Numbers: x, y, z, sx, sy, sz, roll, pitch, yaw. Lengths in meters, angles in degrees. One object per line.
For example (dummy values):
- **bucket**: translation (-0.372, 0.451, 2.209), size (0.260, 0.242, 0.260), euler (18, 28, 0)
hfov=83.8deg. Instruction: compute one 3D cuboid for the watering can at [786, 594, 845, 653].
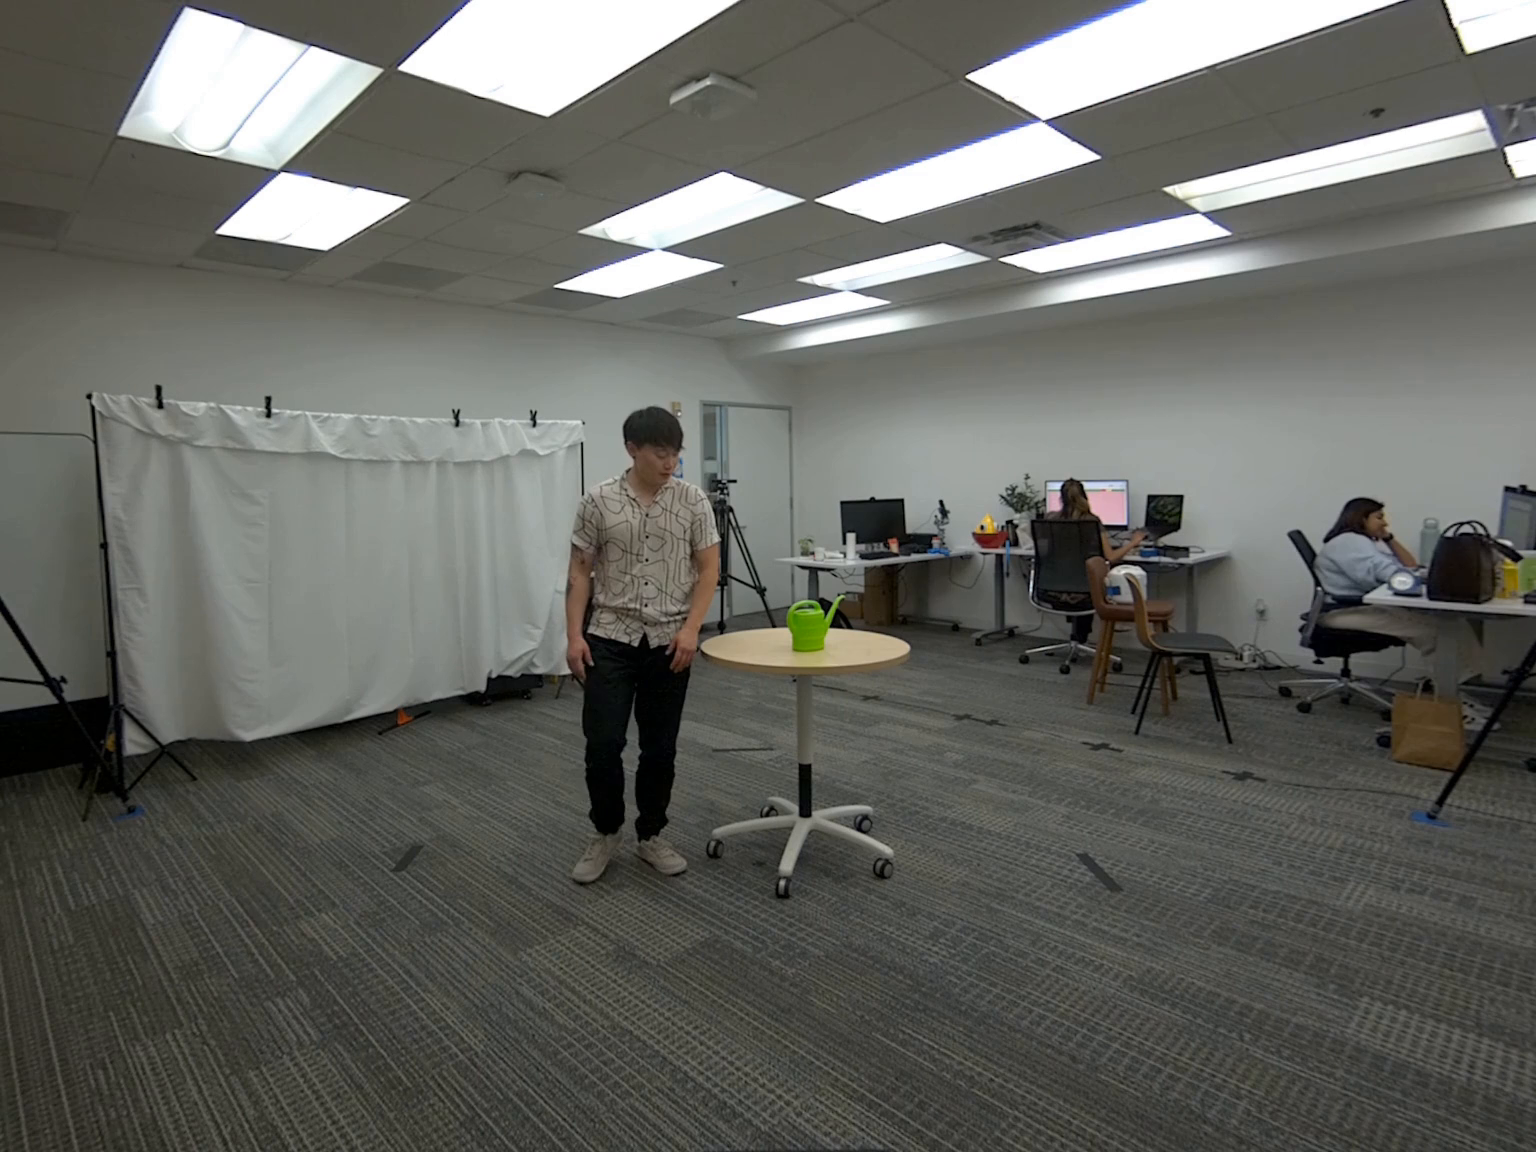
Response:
- **watering can**: translation (0.182, 0.172, 3.083), size (0.273, 0.176, 0.100), euler (-5, 8, -22)
